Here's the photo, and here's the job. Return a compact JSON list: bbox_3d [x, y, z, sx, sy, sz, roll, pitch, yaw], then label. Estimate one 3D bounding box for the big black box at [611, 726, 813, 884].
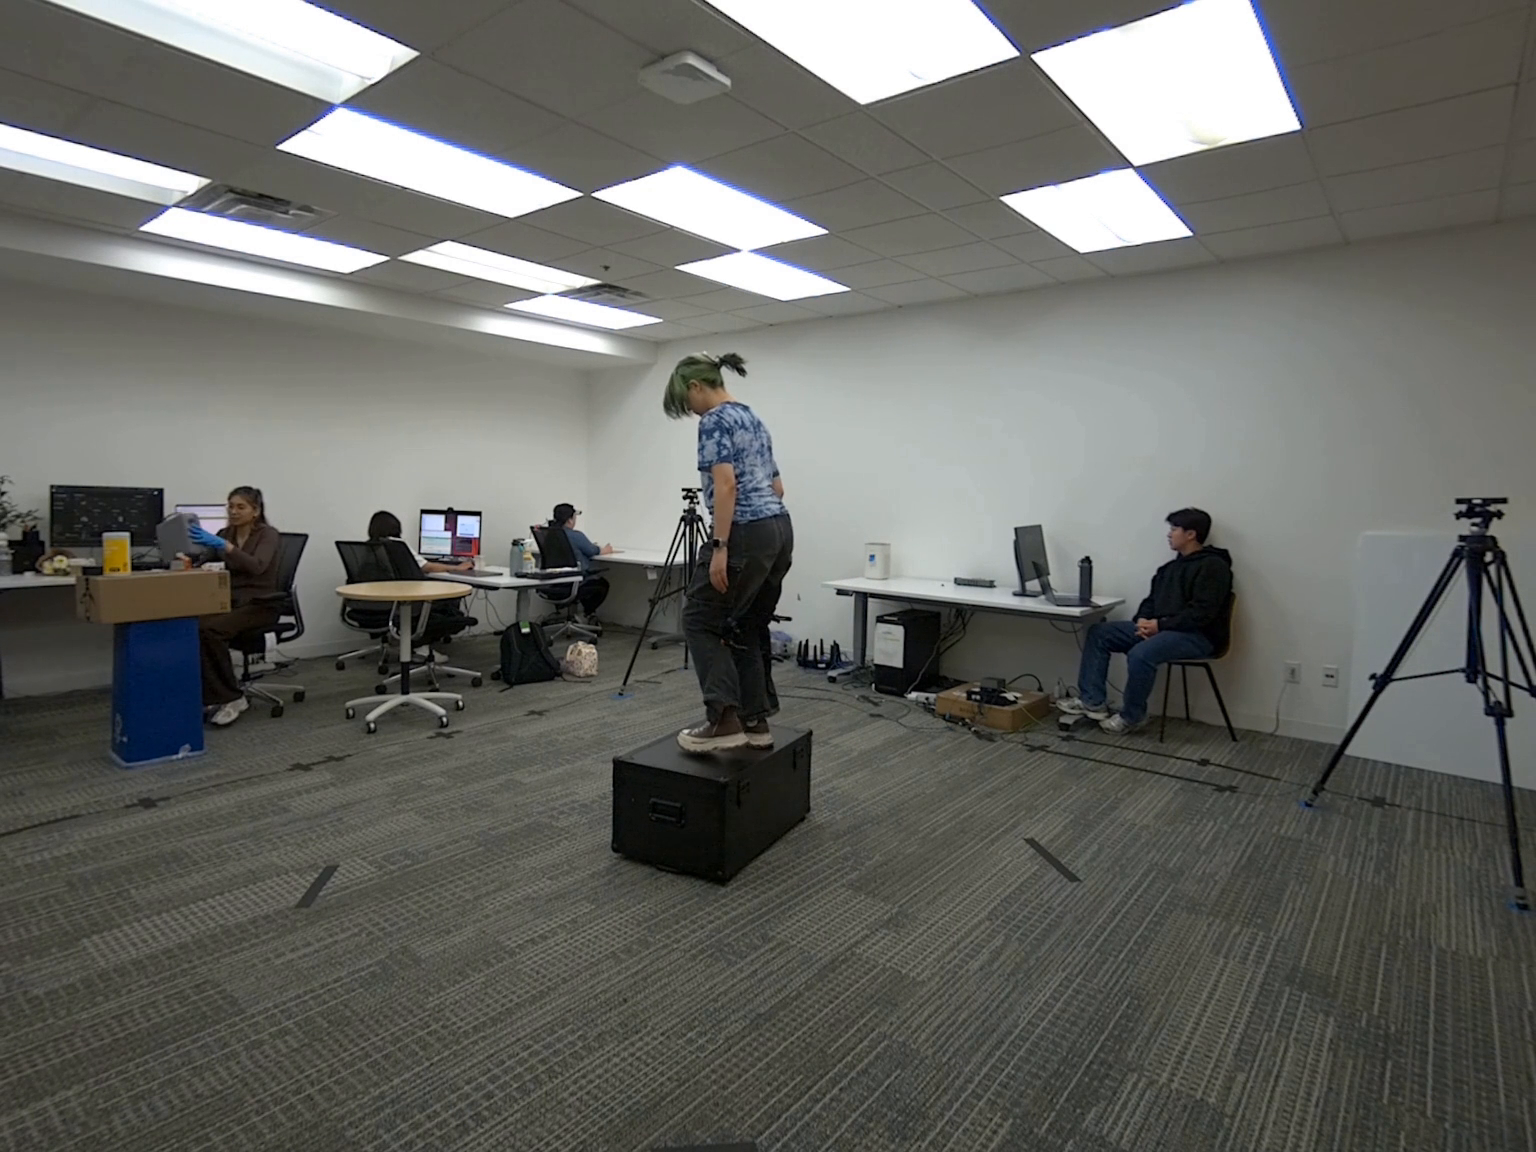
[{"bbox_3d":[-0.192,0.850,3.430,0.536,0.395,0.841,3,5,27],"label":"big black box"}]
